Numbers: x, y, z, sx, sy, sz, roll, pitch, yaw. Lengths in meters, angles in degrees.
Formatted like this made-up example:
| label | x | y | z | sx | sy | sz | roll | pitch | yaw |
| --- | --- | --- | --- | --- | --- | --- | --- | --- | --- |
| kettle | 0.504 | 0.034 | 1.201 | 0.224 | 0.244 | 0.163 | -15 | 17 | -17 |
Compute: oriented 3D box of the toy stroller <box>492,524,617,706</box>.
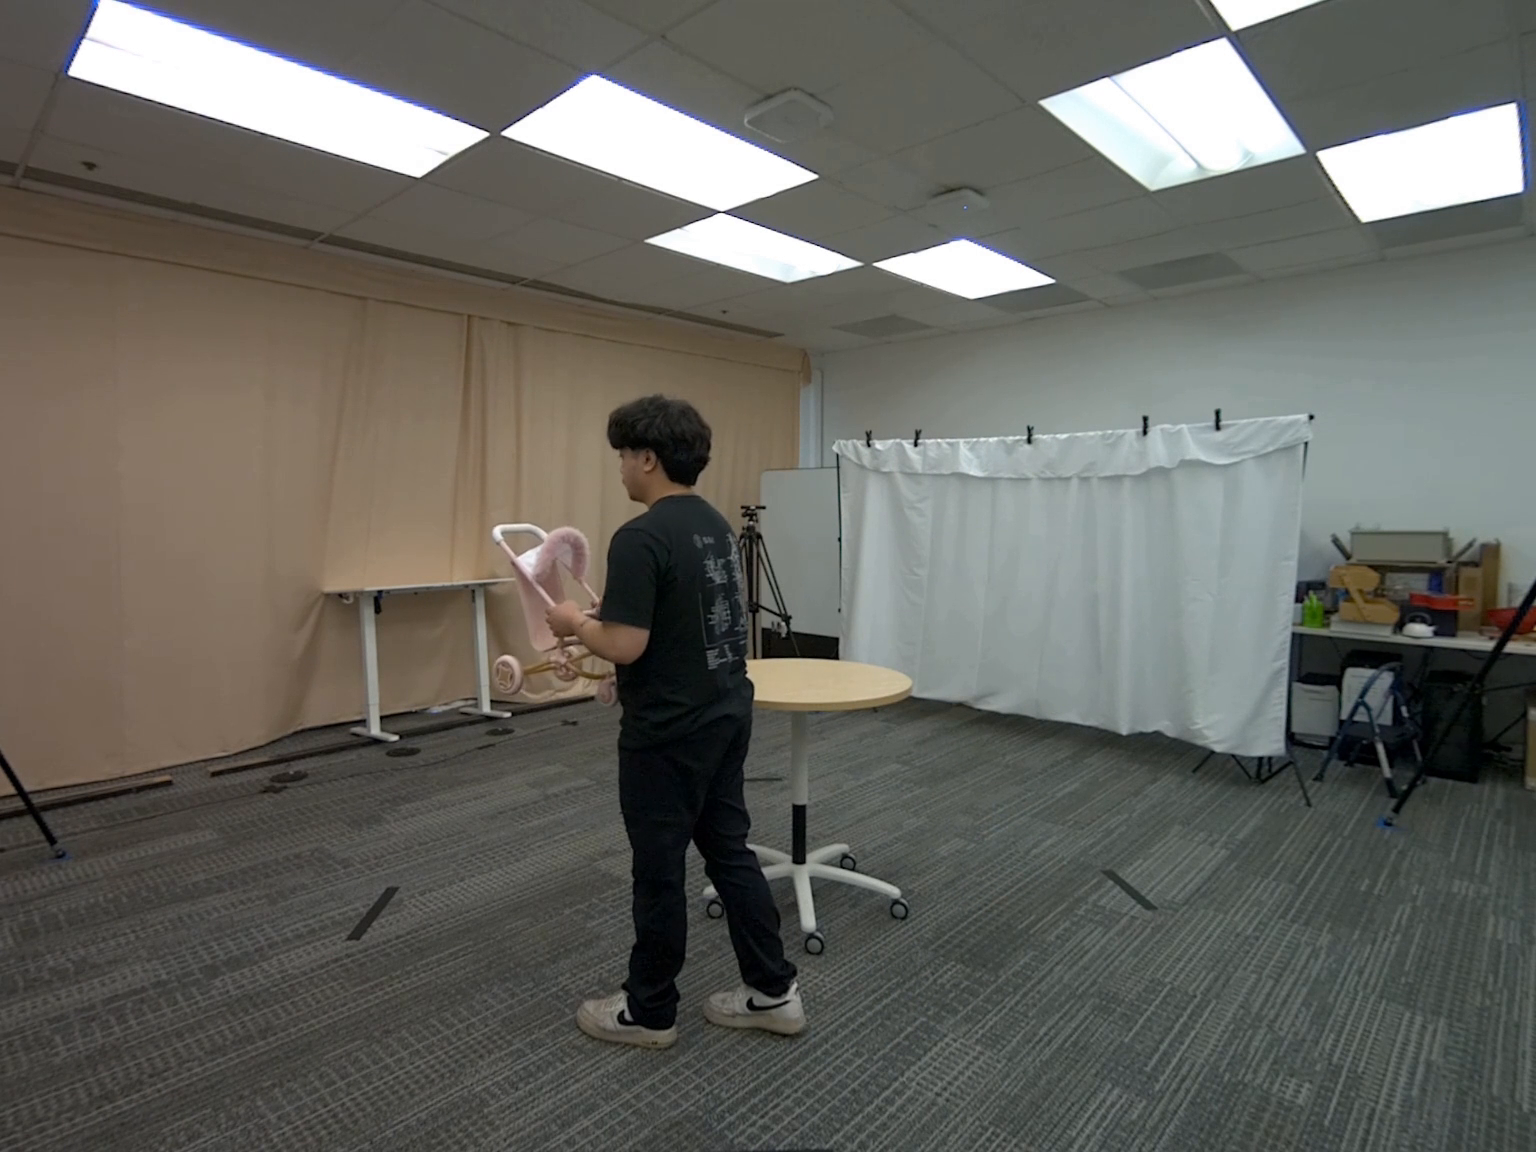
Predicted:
| label | x | y | z | sx | sy | sz | roll | pitch | yaw |
| --- | --- | --- | --- | --- | --- | --- | --- | --- | --- |
| toy stroller | -0.576 | 0.107 | 2.355 | 0.351 | 0.536 | 0.273 | -6 | -2 | 32 |
